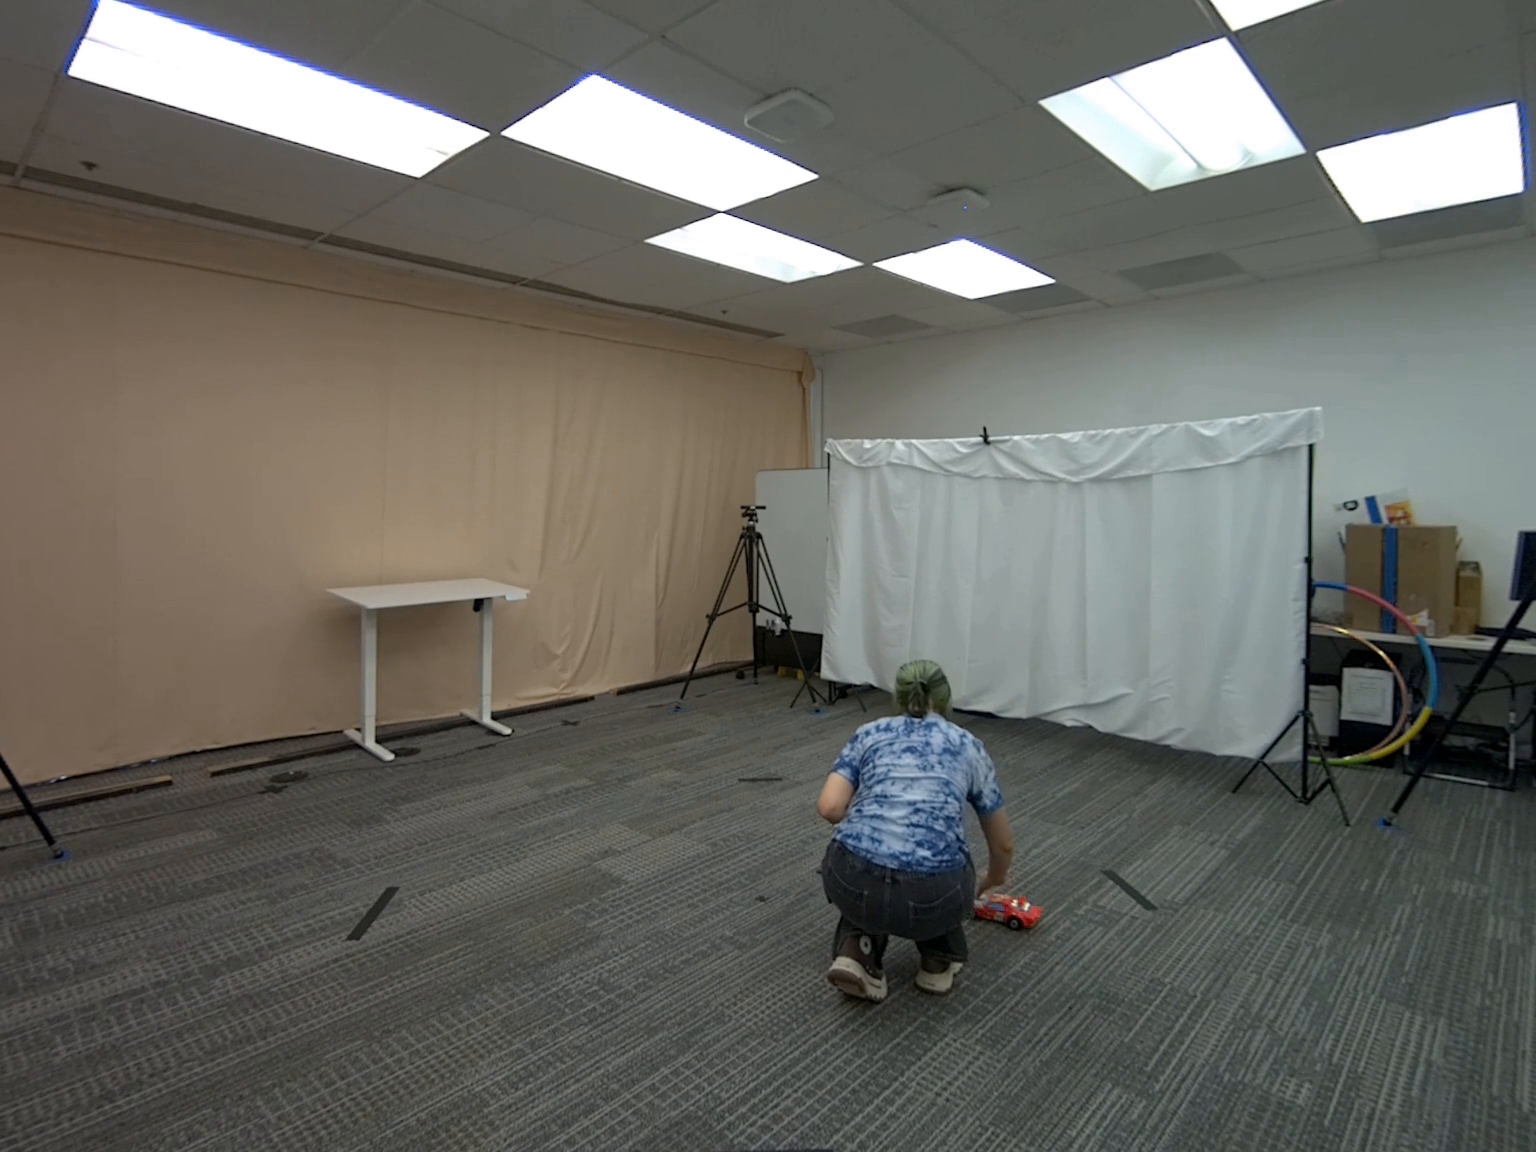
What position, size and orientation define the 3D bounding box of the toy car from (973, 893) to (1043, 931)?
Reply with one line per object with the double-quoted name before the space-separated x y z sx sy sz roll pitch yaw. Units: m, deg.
"toy car" 0.797 1.124 2.824 0.261 0.083 0.127 -9 0 30
